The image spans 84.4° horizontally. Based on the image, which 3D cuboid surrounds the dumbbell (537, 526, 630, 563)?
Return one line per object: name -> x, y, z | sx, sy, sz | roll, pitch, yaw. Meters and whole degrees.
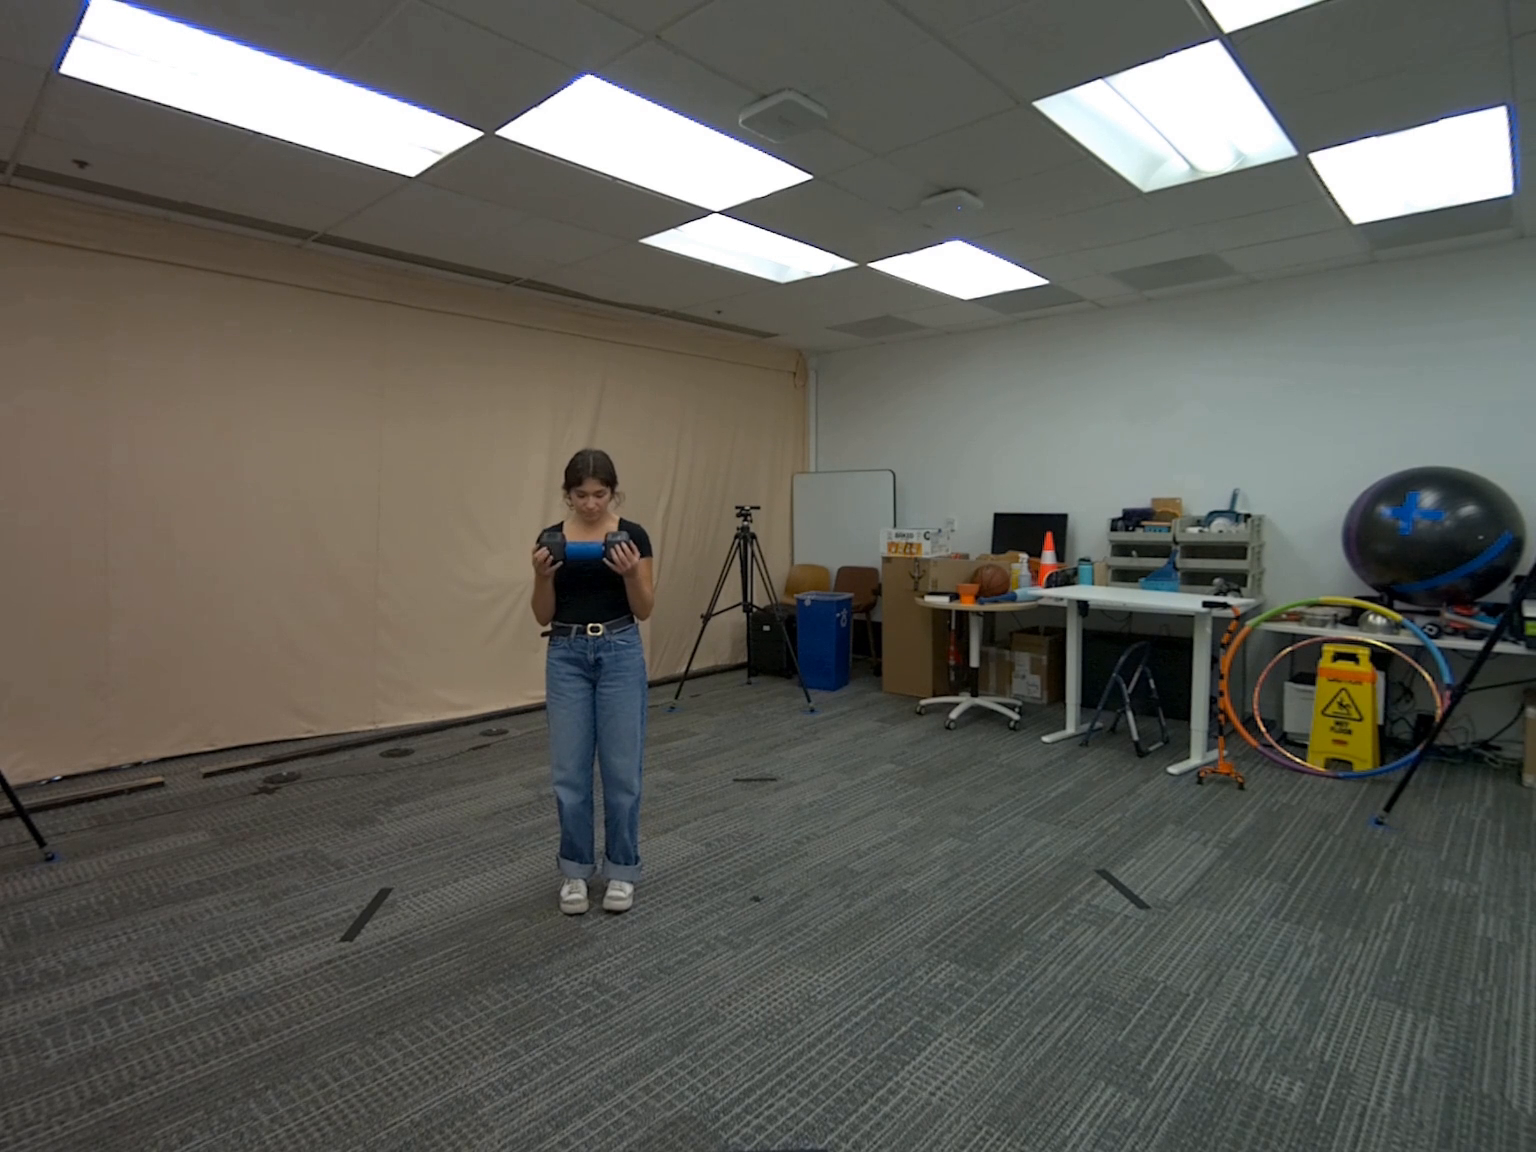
dumbbell -> -0.603, -0.079, 2.798 | 0.293, 0.123, 0.109 | 0, 2, -1
